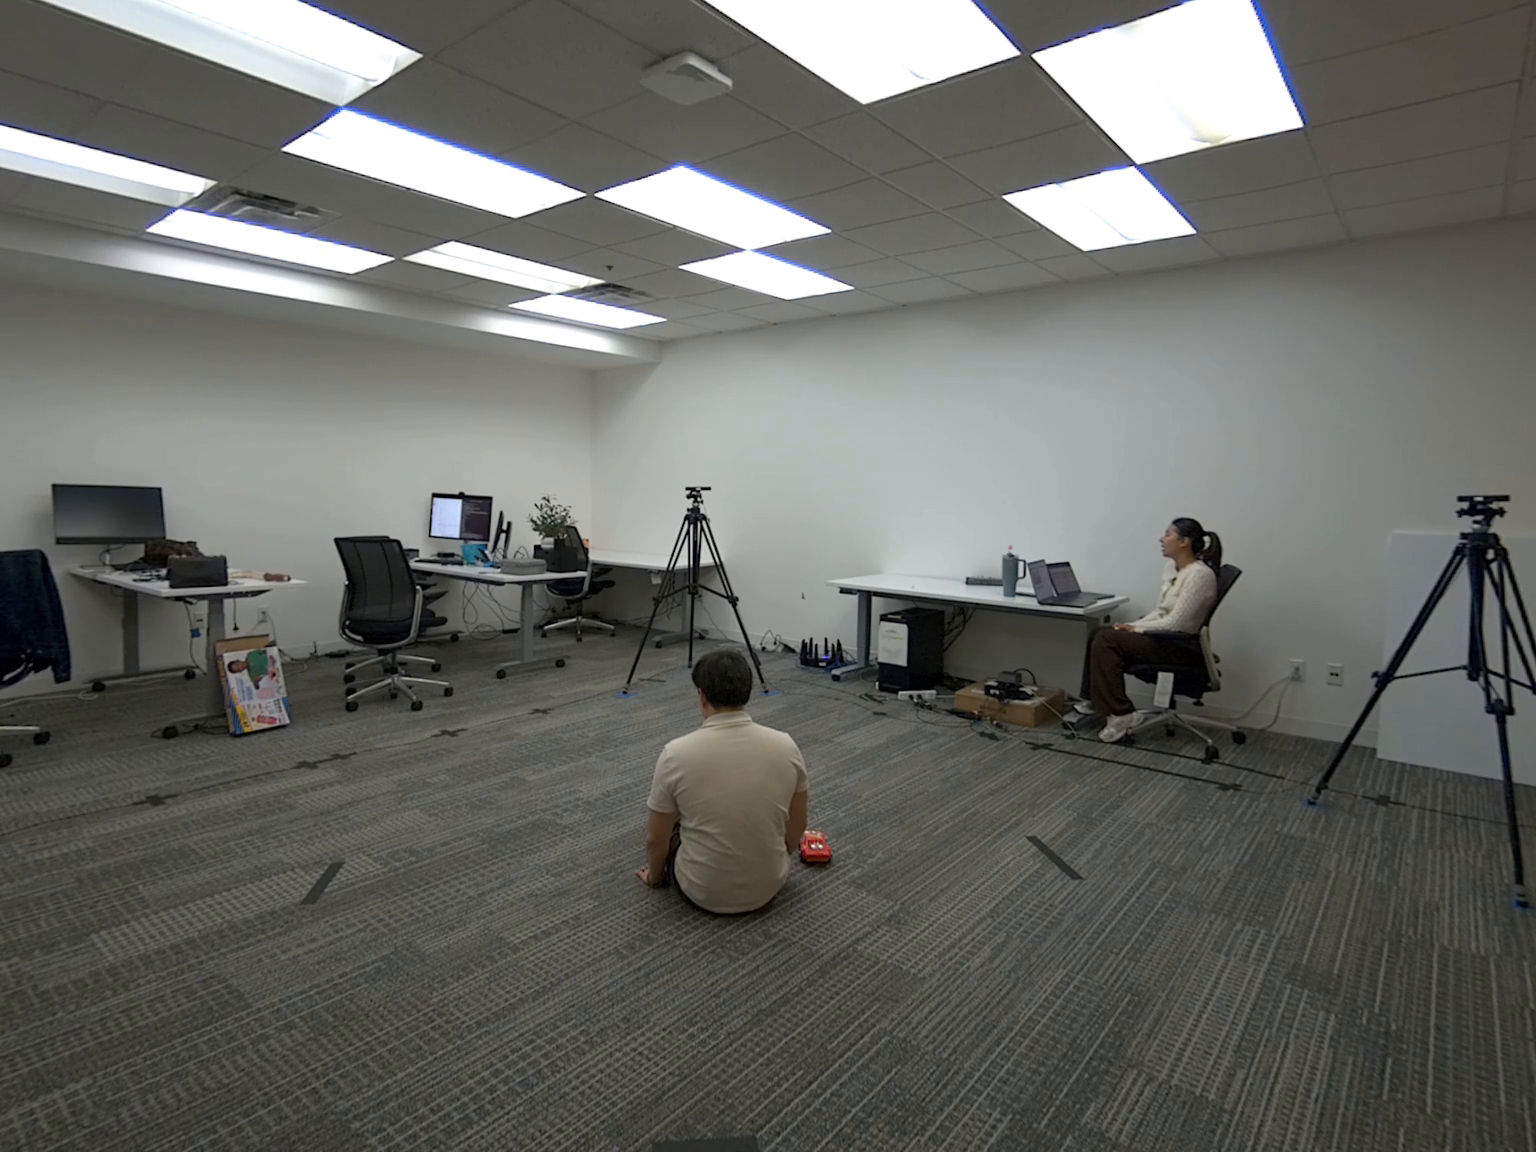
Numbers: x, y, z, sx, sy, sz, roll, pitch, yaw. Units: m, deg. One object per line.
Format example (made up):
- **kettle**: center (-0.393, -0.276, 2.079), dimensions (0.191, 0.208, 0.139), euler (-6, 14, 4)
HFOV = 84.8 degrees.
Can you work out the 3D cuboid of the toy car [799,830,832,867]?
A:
- **toy car**: center (0.170, 1.032, 3.233), dimensions (0.130, 0.084, 0.253), euler (1, -5, -3)
